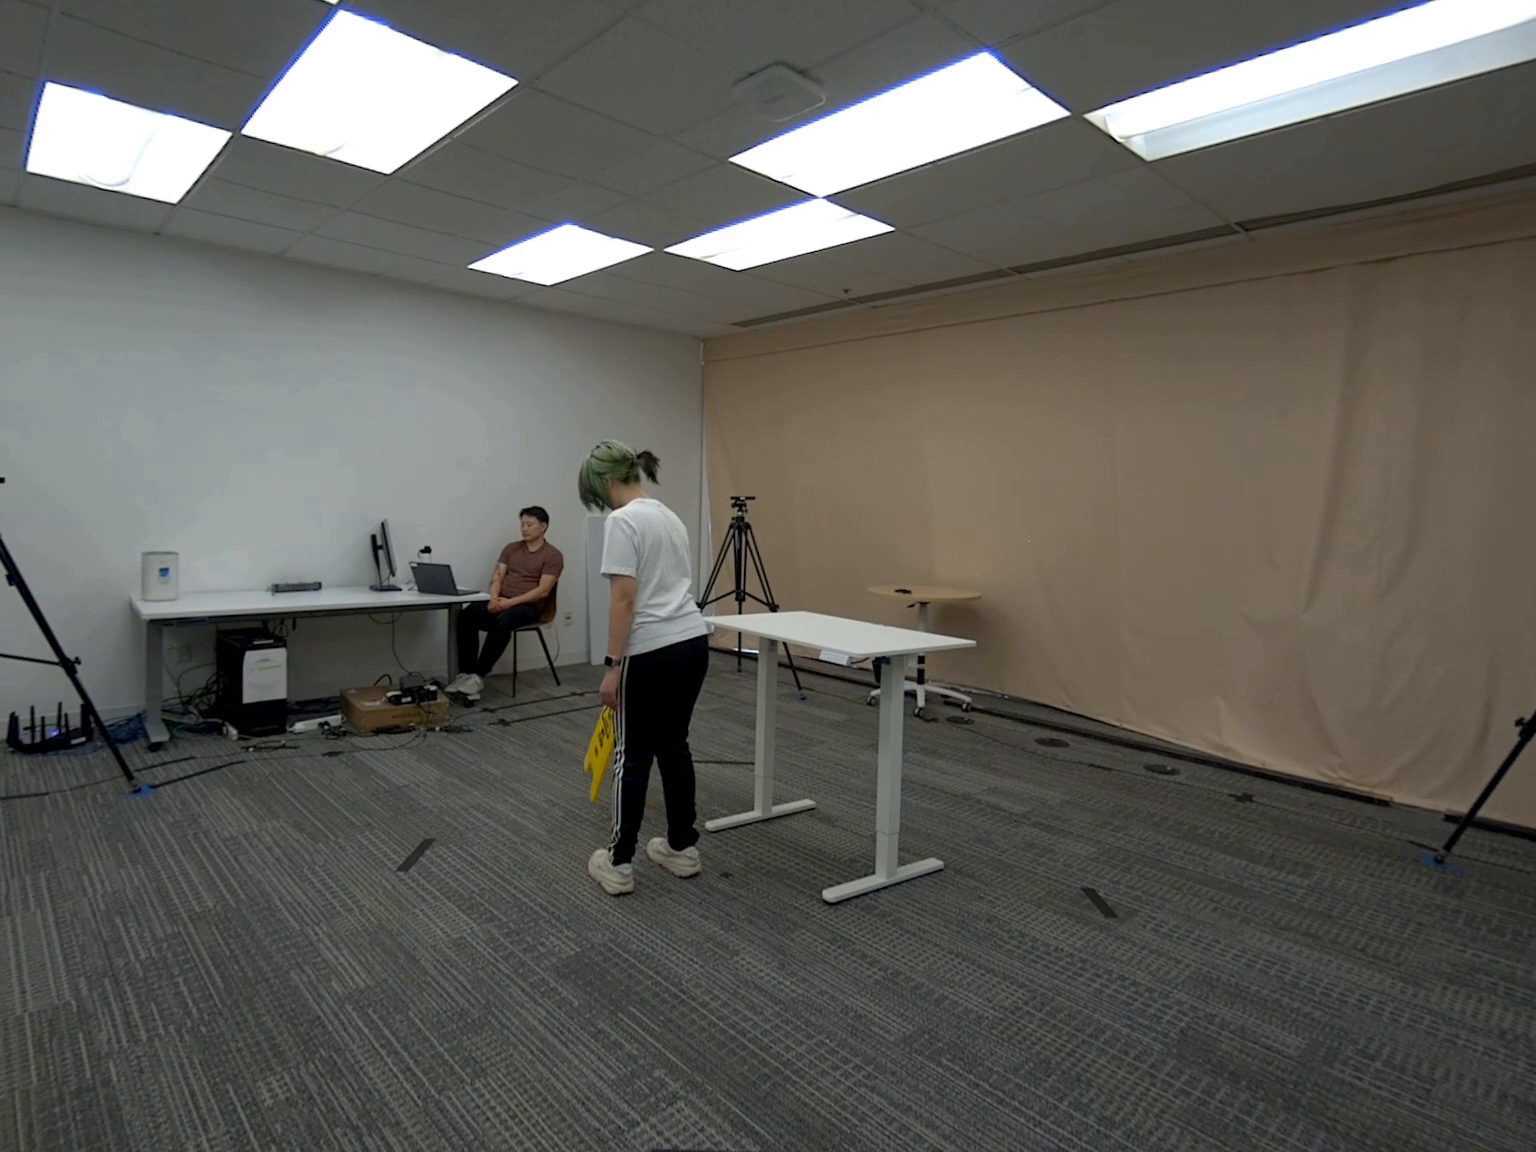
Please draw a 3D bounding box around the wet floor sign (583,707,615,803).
[{"bbox_3d":[-0.611,0.599,3.547,0.285,0.639,0.290,4,21,-20],"label":"wet floor sign"}]
